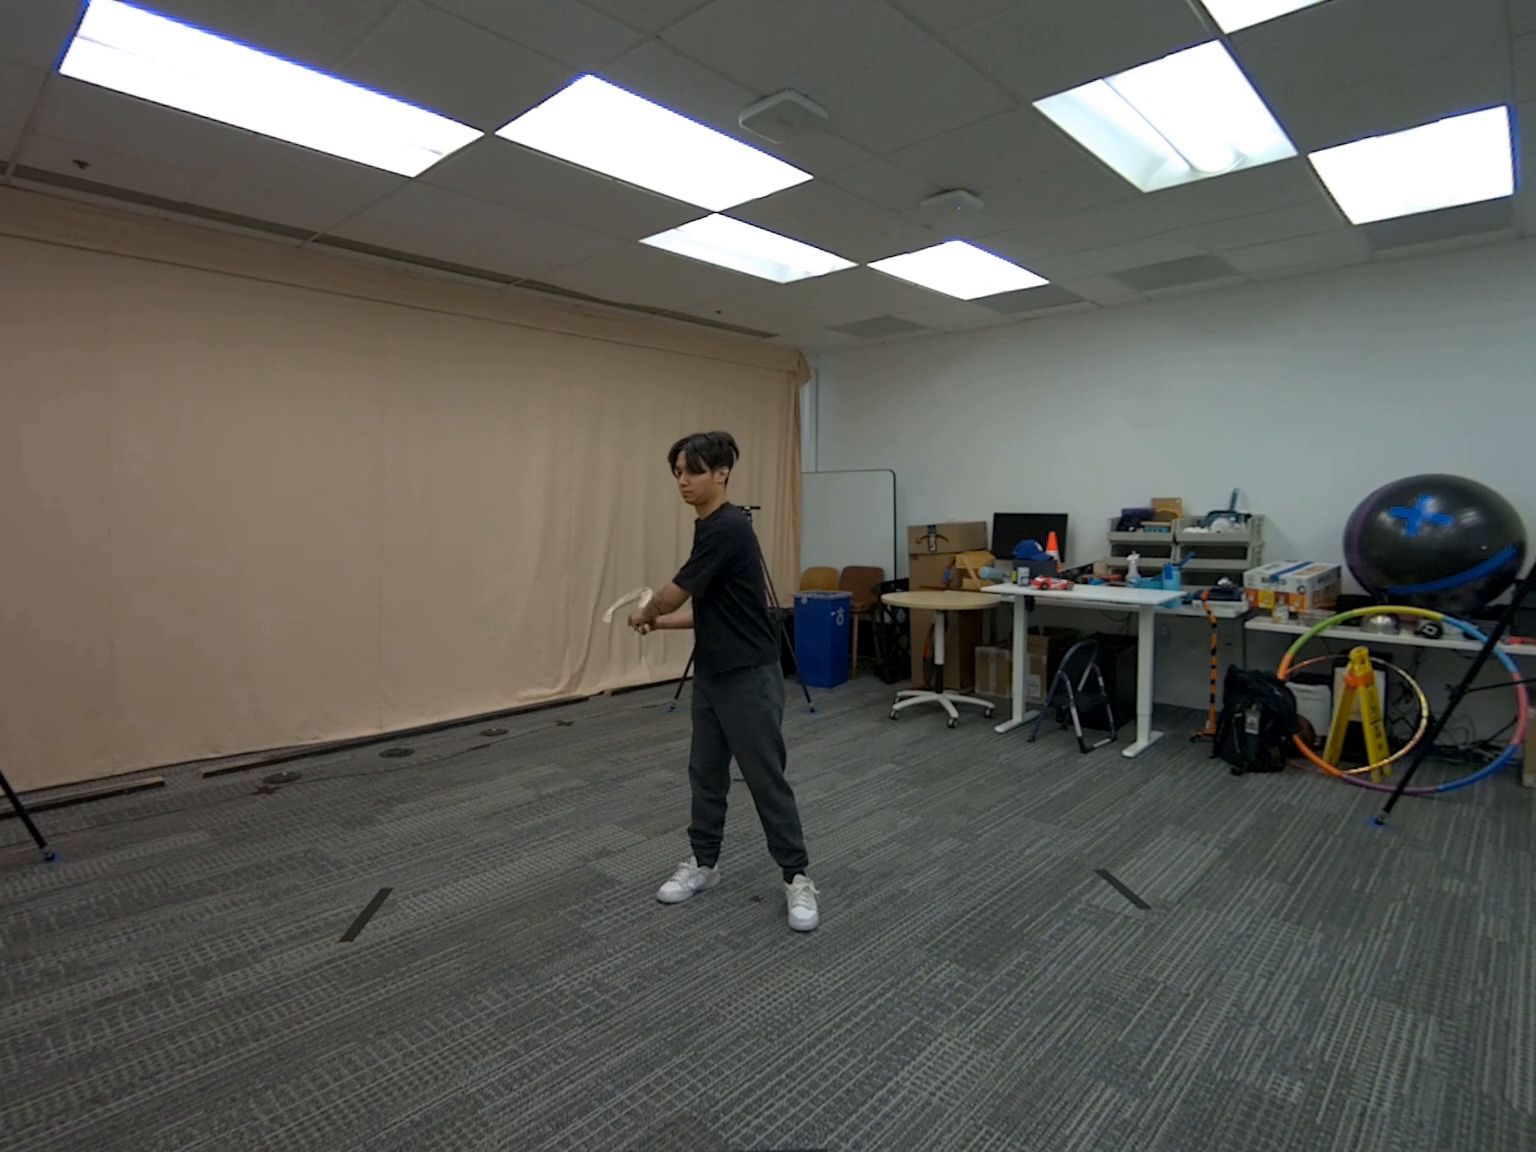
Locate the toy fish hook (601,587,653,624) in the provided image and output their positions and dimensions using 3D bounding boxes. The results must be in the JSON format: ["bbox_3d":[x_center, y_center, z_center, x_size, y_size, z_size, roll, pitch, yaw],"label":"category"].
[{"bbox_3d":[-0.521,0.160,3.199,0.224,0.047,0.518,-35,19,-7],"label":"toy fish hook"}]
